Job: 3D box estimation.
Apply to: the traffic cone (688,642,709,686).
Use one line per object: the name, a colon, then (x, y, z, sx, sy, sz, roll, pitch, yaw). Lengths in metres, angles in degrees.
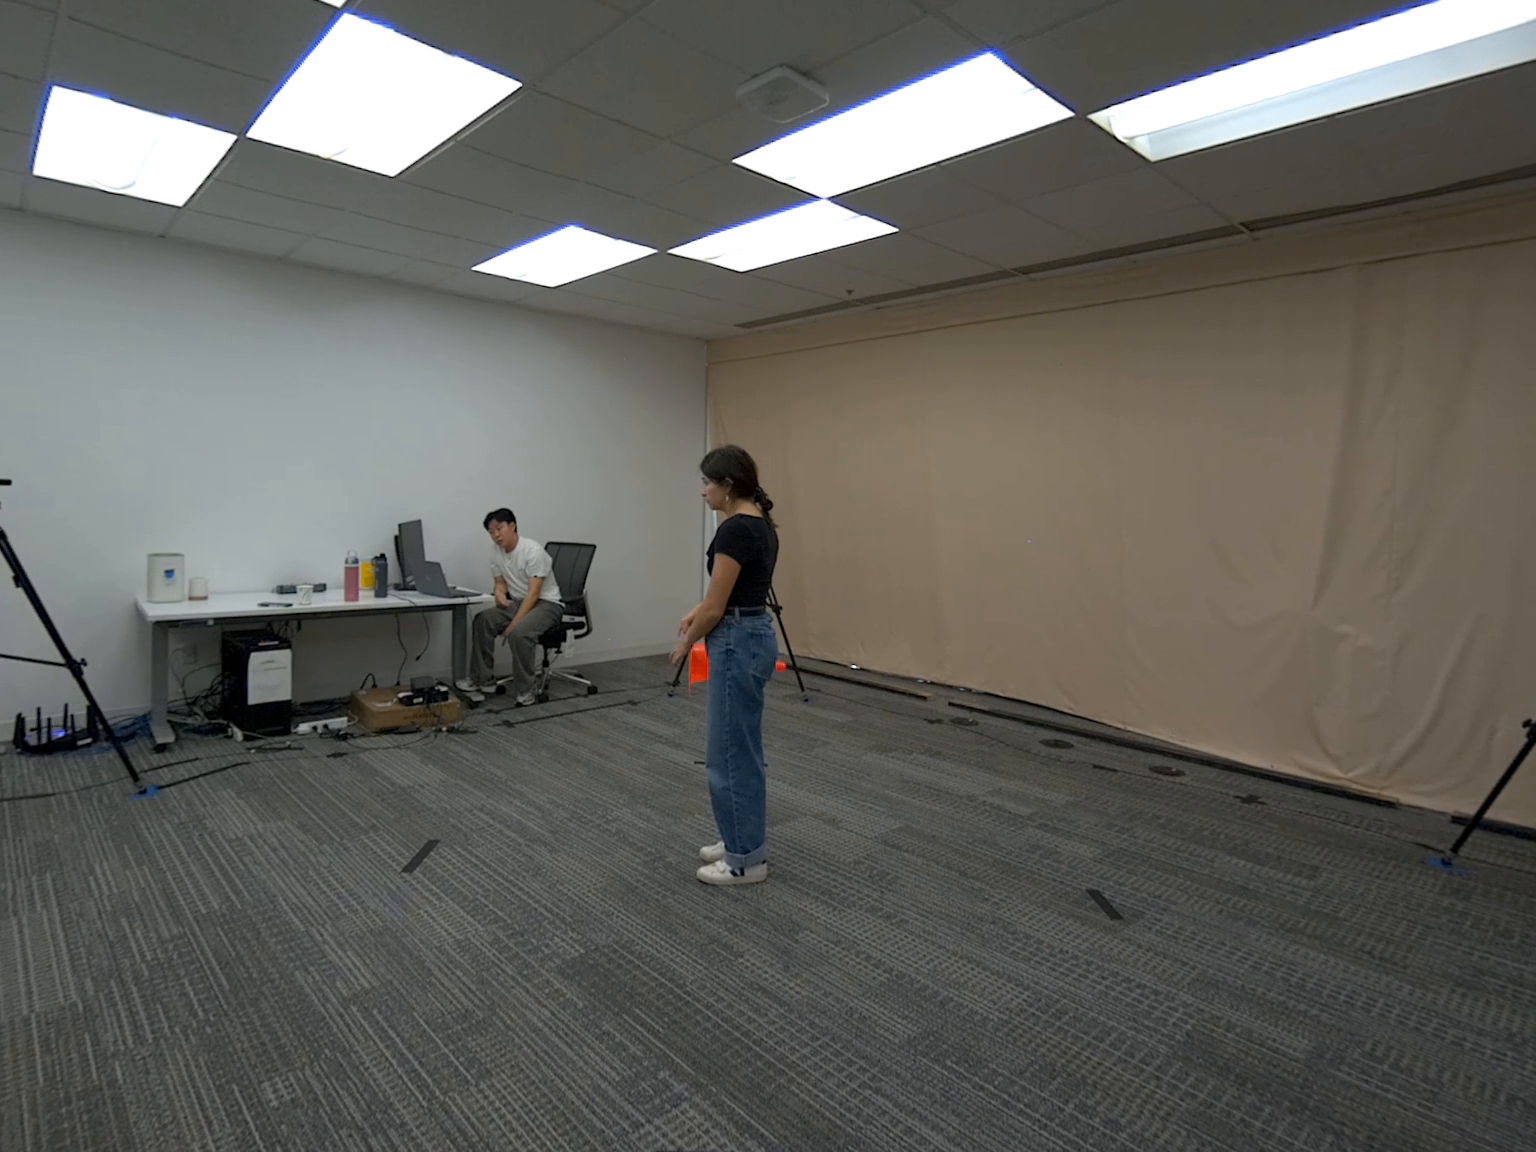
traffic cone: (-0.126, 0.360, 3.350, 0.383, 0.199, 0.209, 3, 40, -3)
